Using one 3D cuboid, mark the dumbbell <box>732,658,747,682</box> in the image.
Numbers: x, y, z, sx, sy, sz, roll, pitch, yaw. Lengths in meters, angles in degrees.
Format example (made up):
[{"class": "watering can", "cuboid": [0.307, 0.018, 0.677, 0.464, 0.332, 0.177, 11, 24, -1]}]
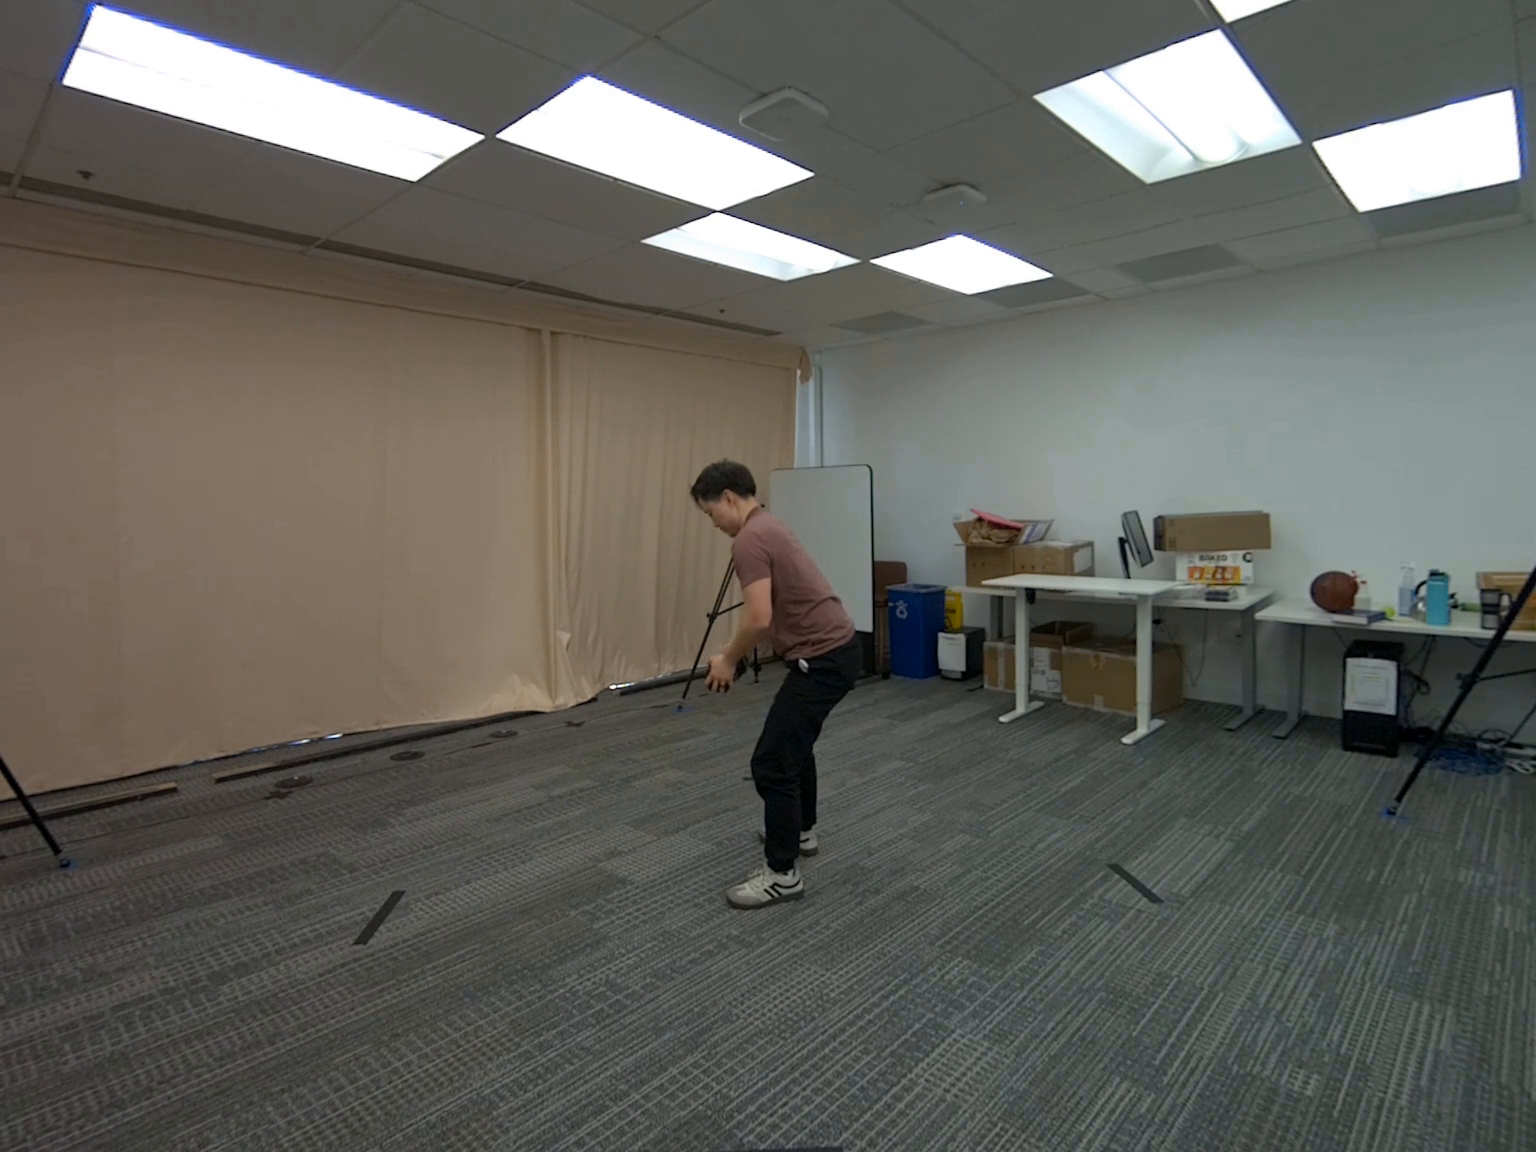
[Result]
[{"class": "dumbbell", "cuboid": [-0.152, 0.352, 3.202, 0.124, 0.108, 0.290, 4, 5, 10]}]
